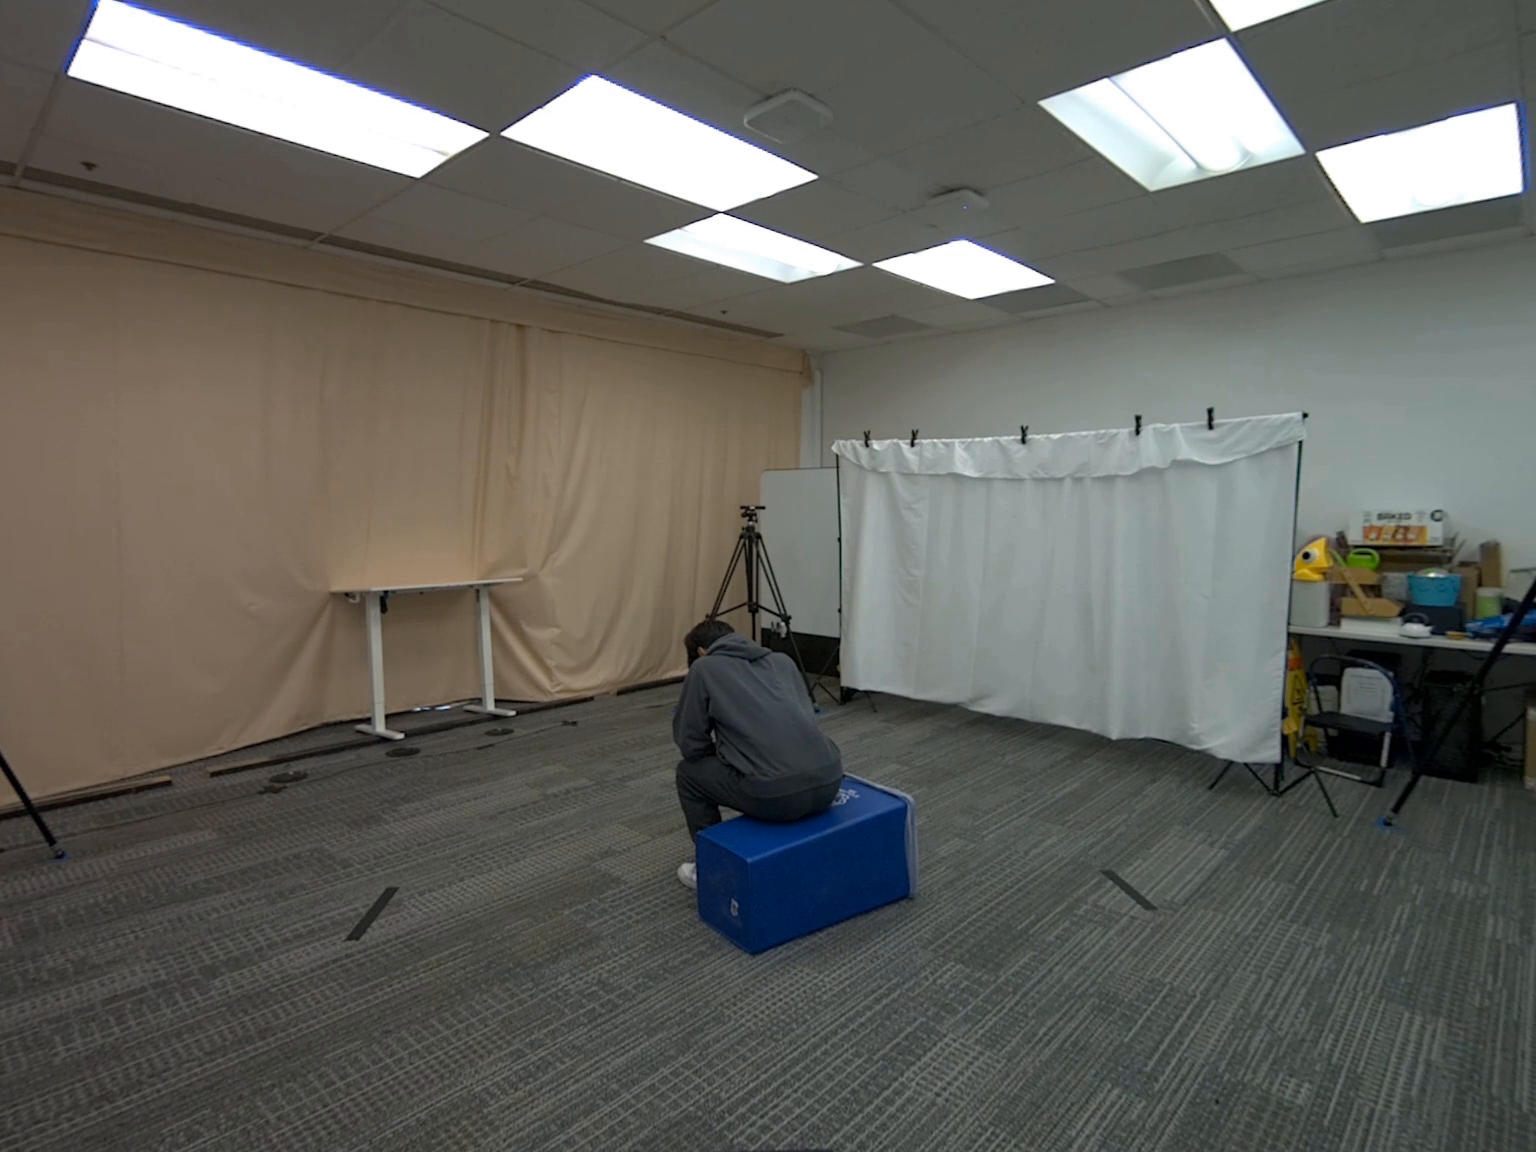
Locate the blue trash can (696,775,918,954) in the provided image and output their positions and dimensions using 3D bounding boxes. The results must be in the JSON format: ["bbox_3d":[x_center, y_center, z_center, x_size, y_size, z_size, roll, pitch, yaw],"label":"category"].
[{"bbox_3d":[0.144,0.983,2.900,0.693,0.376,0.386,-8,8,-37],"label":"blue trash can"}]
